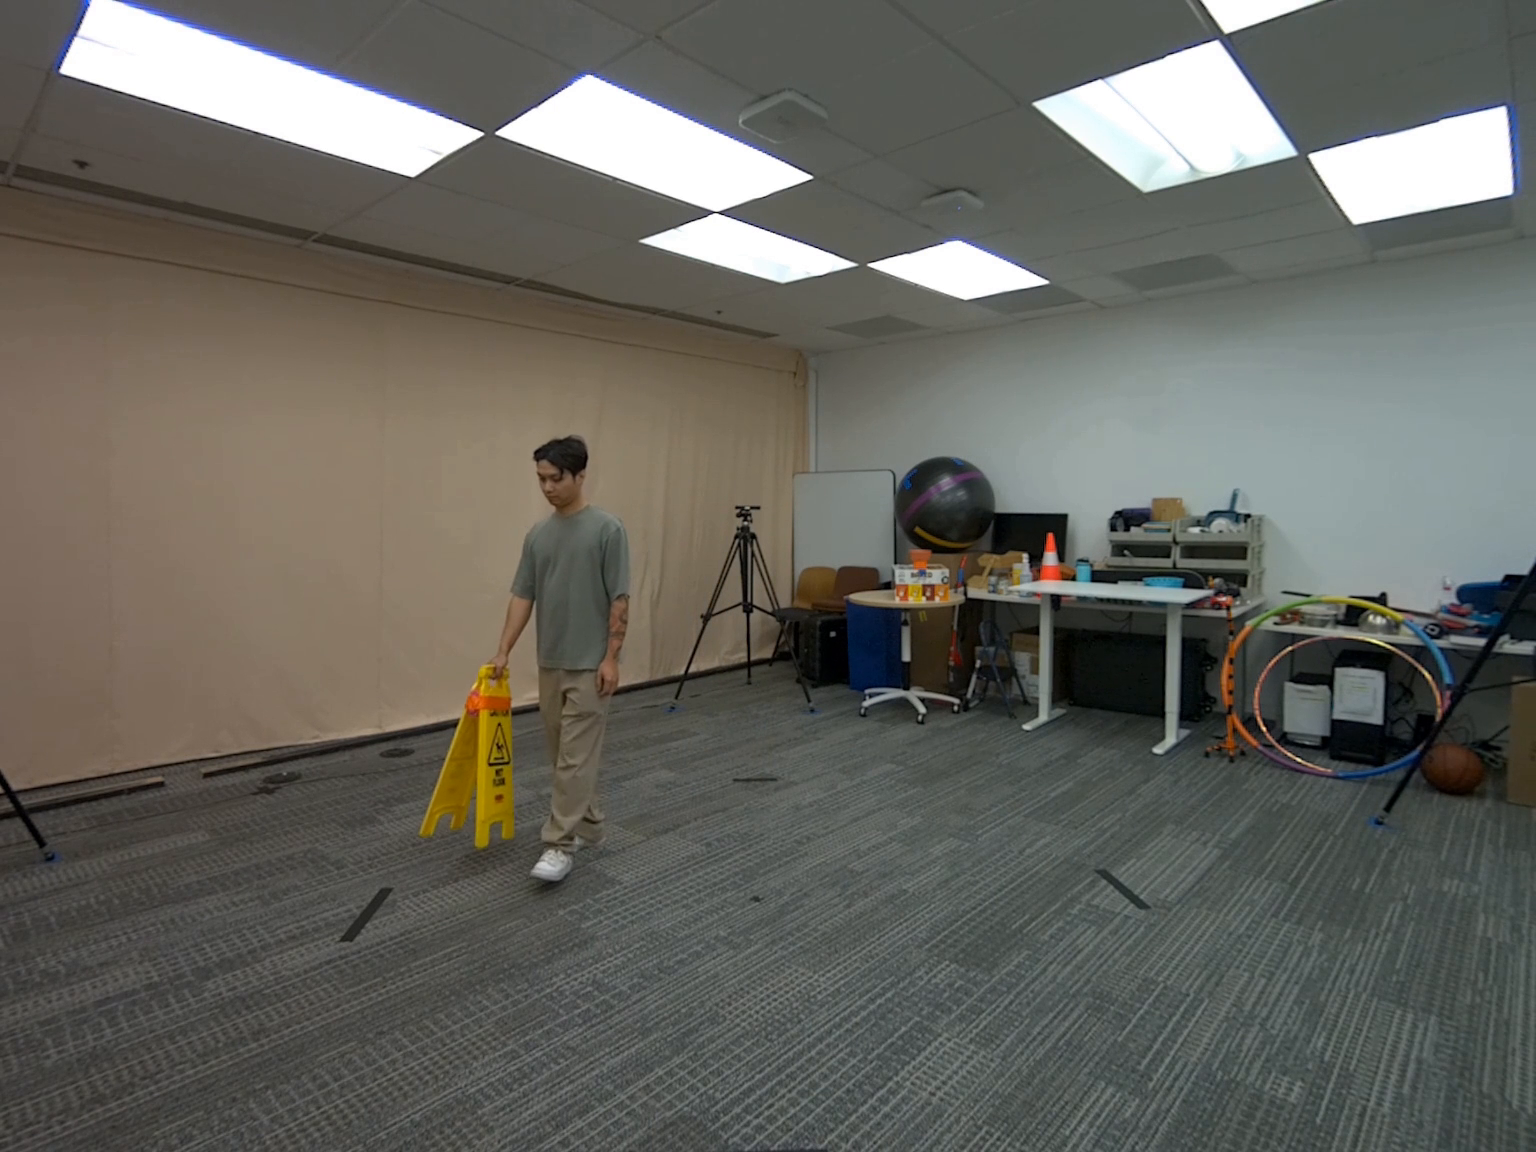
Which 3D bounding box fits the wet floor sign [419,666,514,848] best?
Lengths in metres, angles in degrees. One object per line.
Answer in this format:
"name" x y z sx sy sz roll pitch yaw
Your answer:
"wet floor sign" -1.104 0.683 3.256 0.294 0.648 0.277 6 -8 12
